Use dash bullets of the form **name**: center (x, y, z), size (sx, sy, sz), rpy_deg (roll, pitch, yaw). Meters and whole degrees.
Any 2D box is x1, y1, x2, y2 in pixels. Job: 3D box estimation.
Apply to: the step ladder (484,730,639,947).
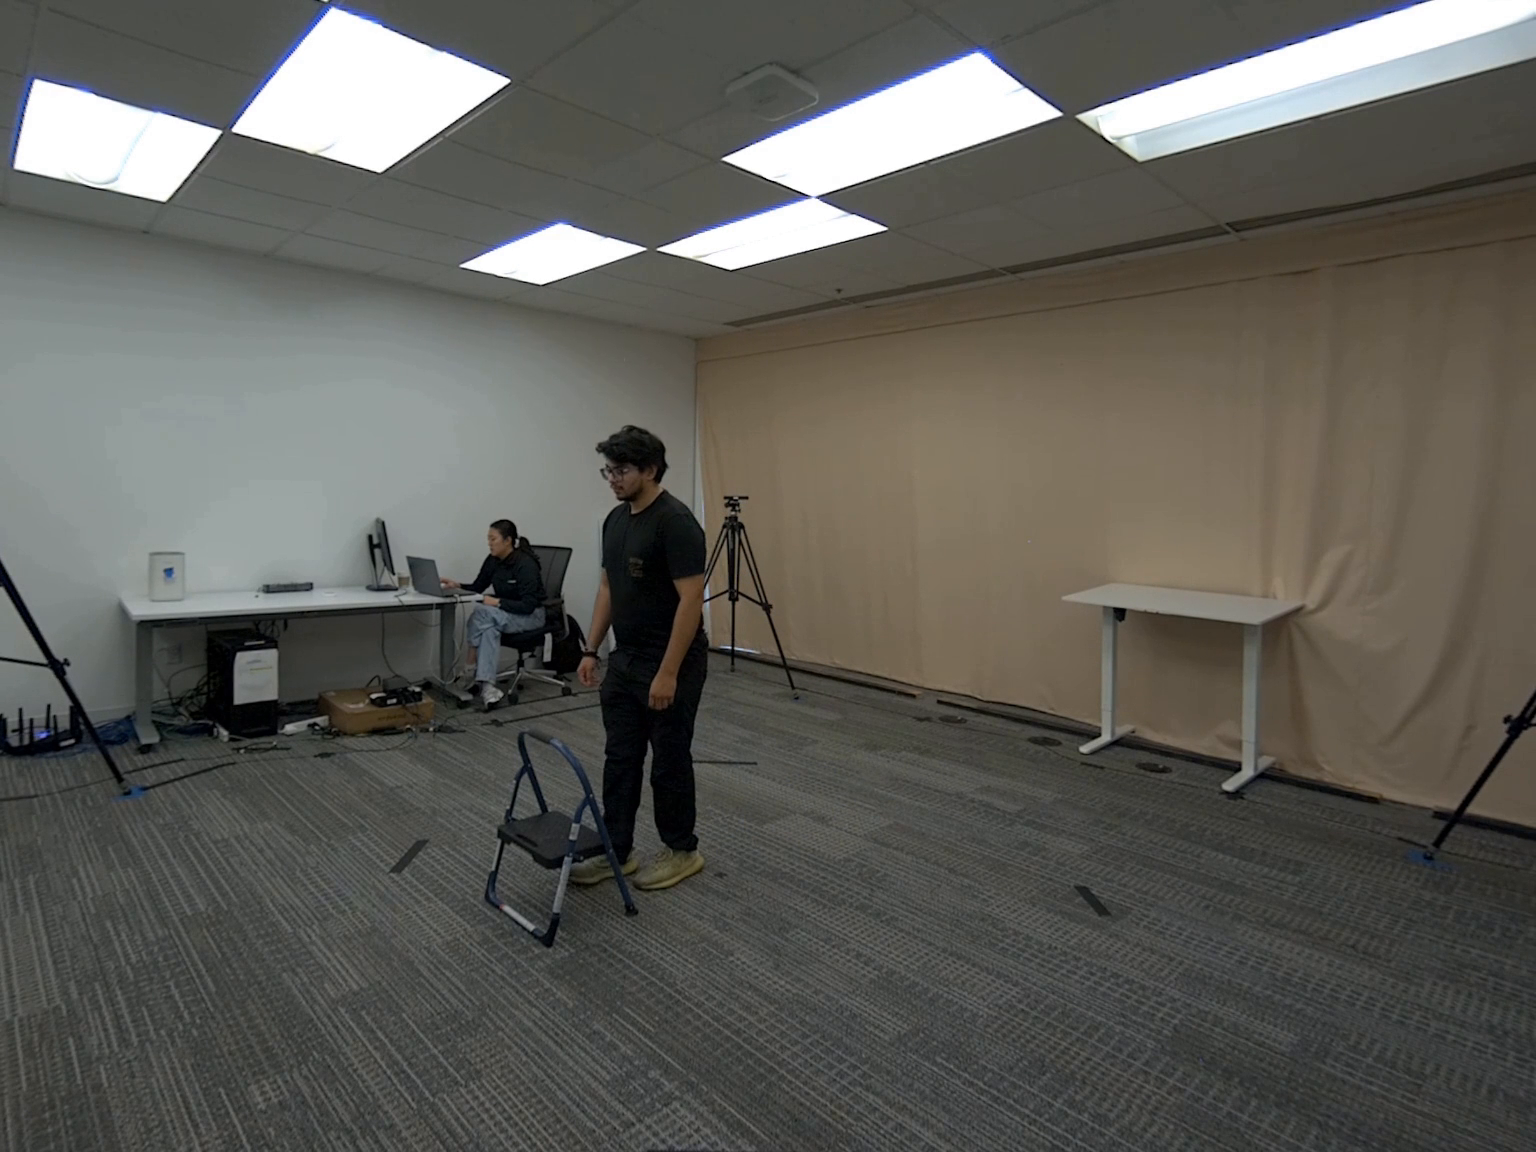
- **step ladder**: center (-0.700, 0.816, 2.821), size (0.341, 0.605, 0.441), rpy_deg (-2, 4, -45)
